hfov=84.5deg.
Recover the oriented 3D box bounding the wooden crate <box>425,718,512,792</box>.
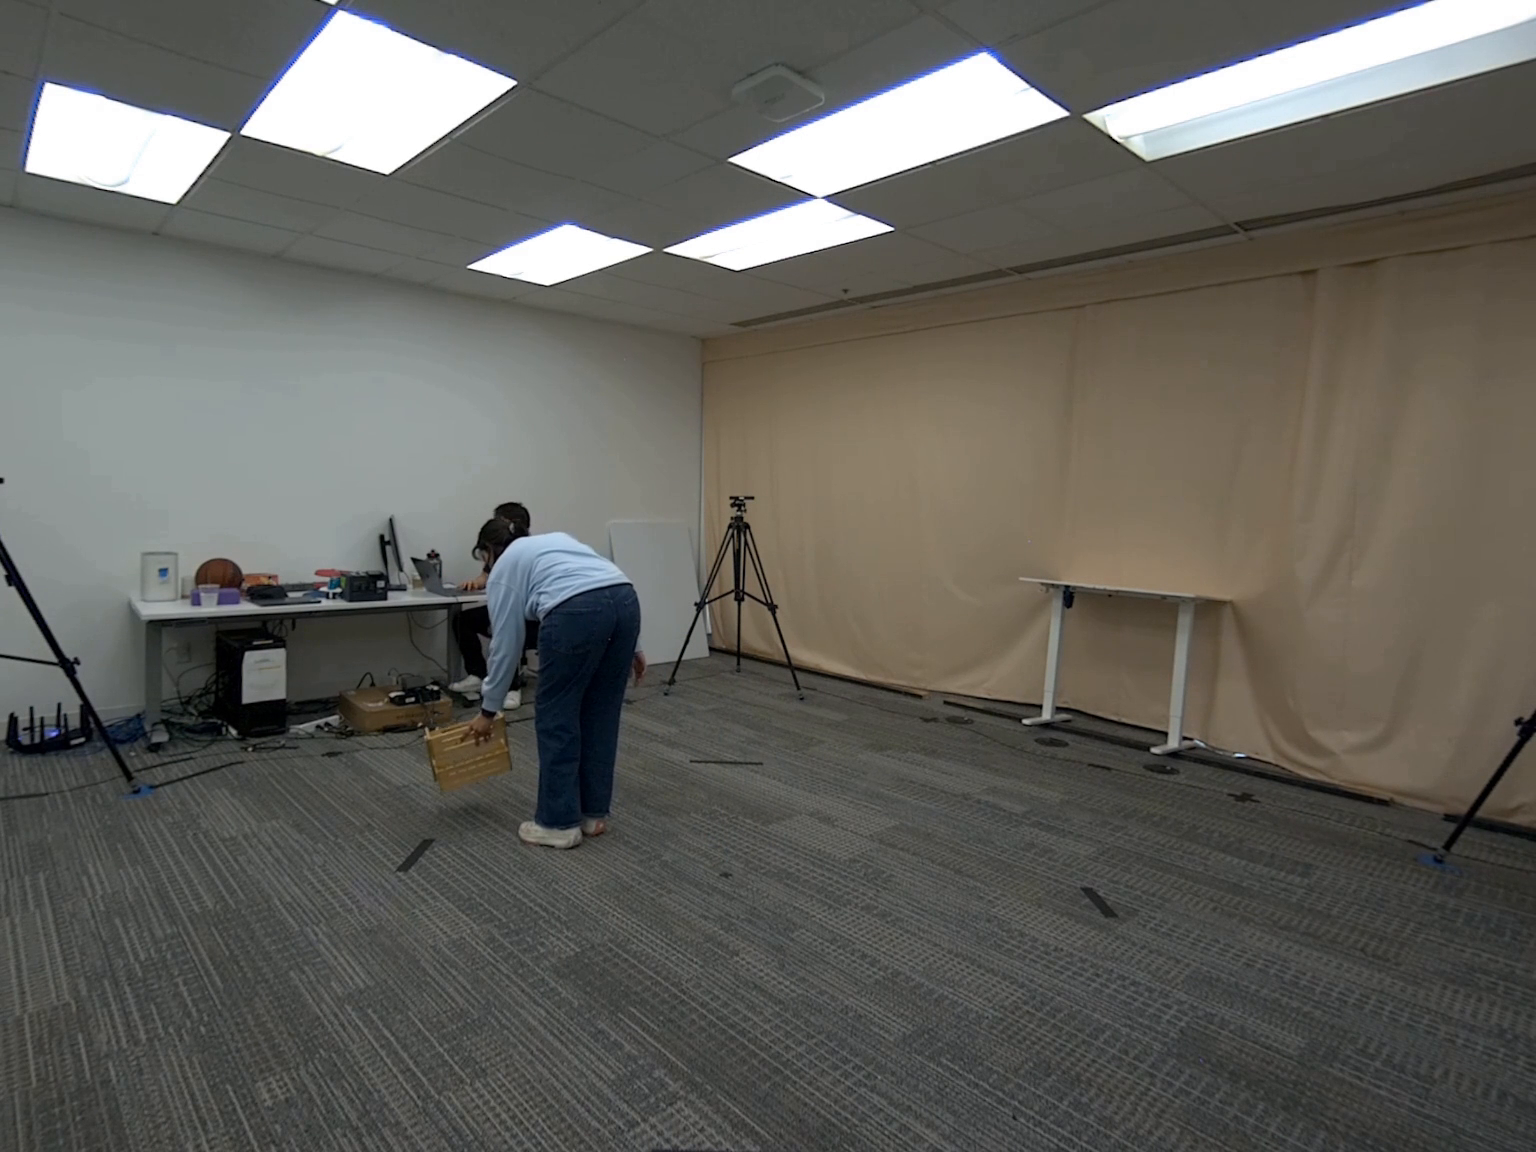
[{"bbox_3d":[-1.299,0.714,3.617,0.320,0.270,0.309,-14,15,-23],"label":"wooden crate"}]
